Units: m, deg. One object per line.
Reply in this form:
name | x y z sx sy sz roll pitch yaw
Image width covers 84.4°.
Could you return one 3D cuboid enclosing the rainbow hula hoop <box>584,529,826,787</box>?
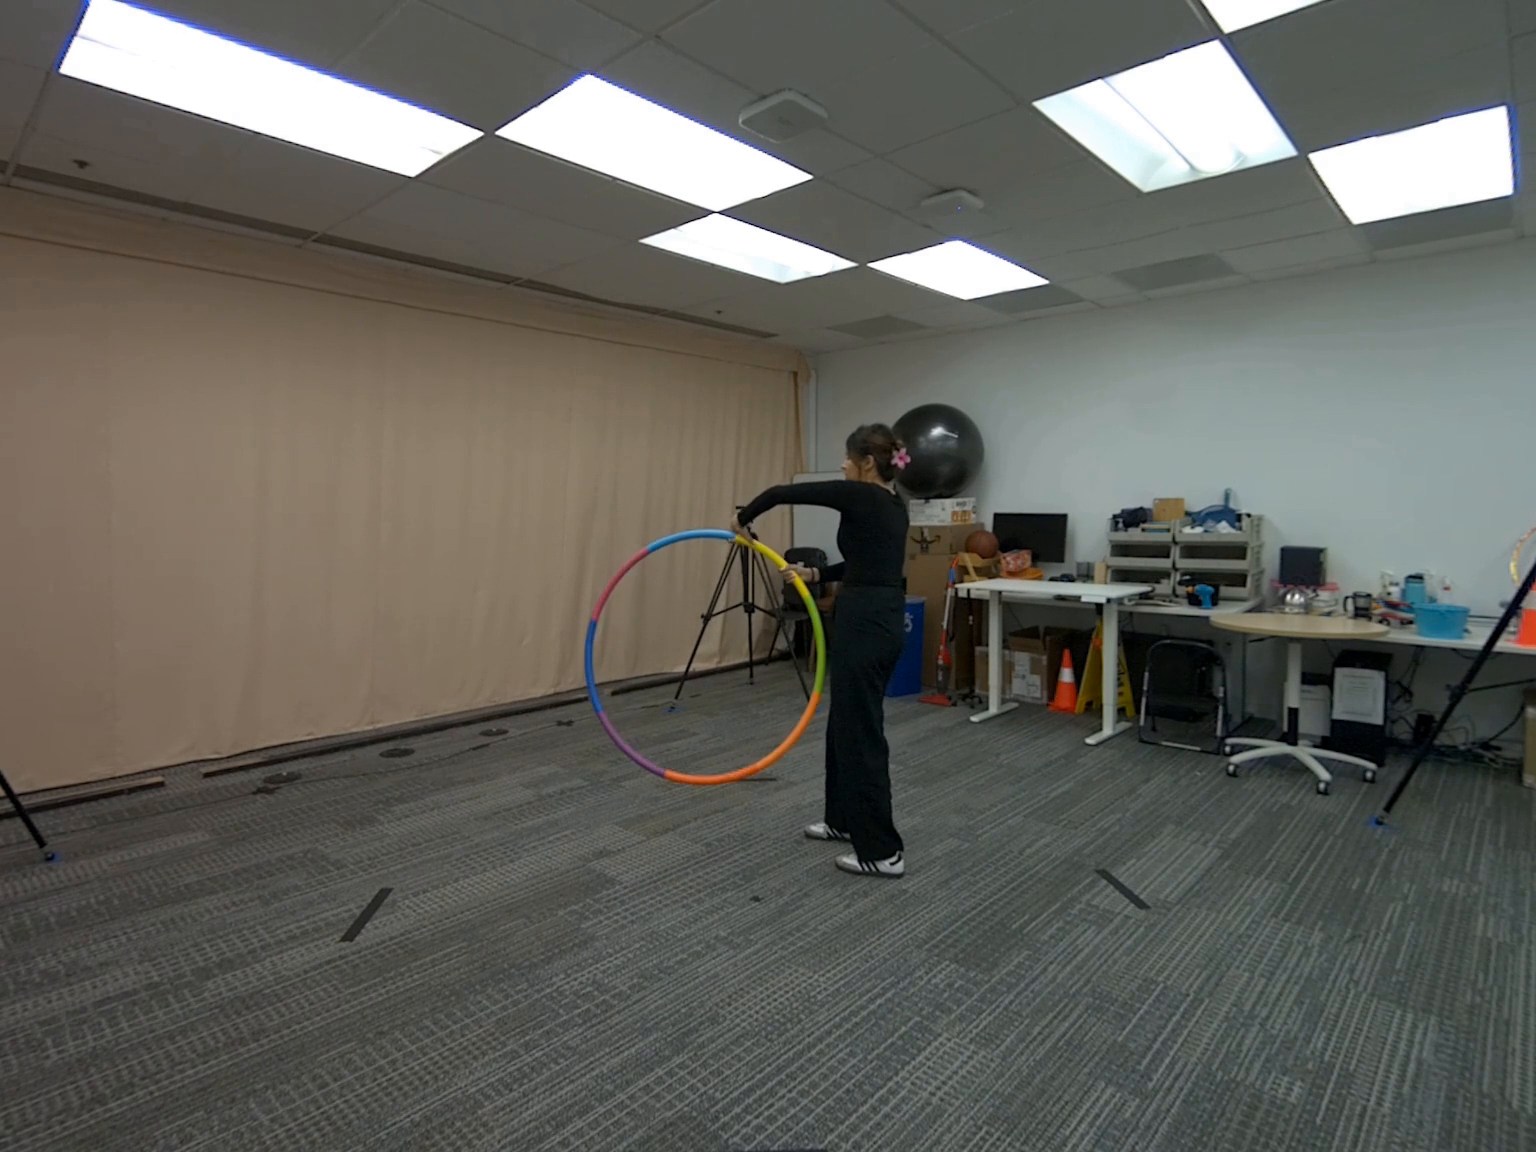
rainbow hula hoop | -0.253 0.298 3.331 0.999 0.989 0.051 1 -7 13
